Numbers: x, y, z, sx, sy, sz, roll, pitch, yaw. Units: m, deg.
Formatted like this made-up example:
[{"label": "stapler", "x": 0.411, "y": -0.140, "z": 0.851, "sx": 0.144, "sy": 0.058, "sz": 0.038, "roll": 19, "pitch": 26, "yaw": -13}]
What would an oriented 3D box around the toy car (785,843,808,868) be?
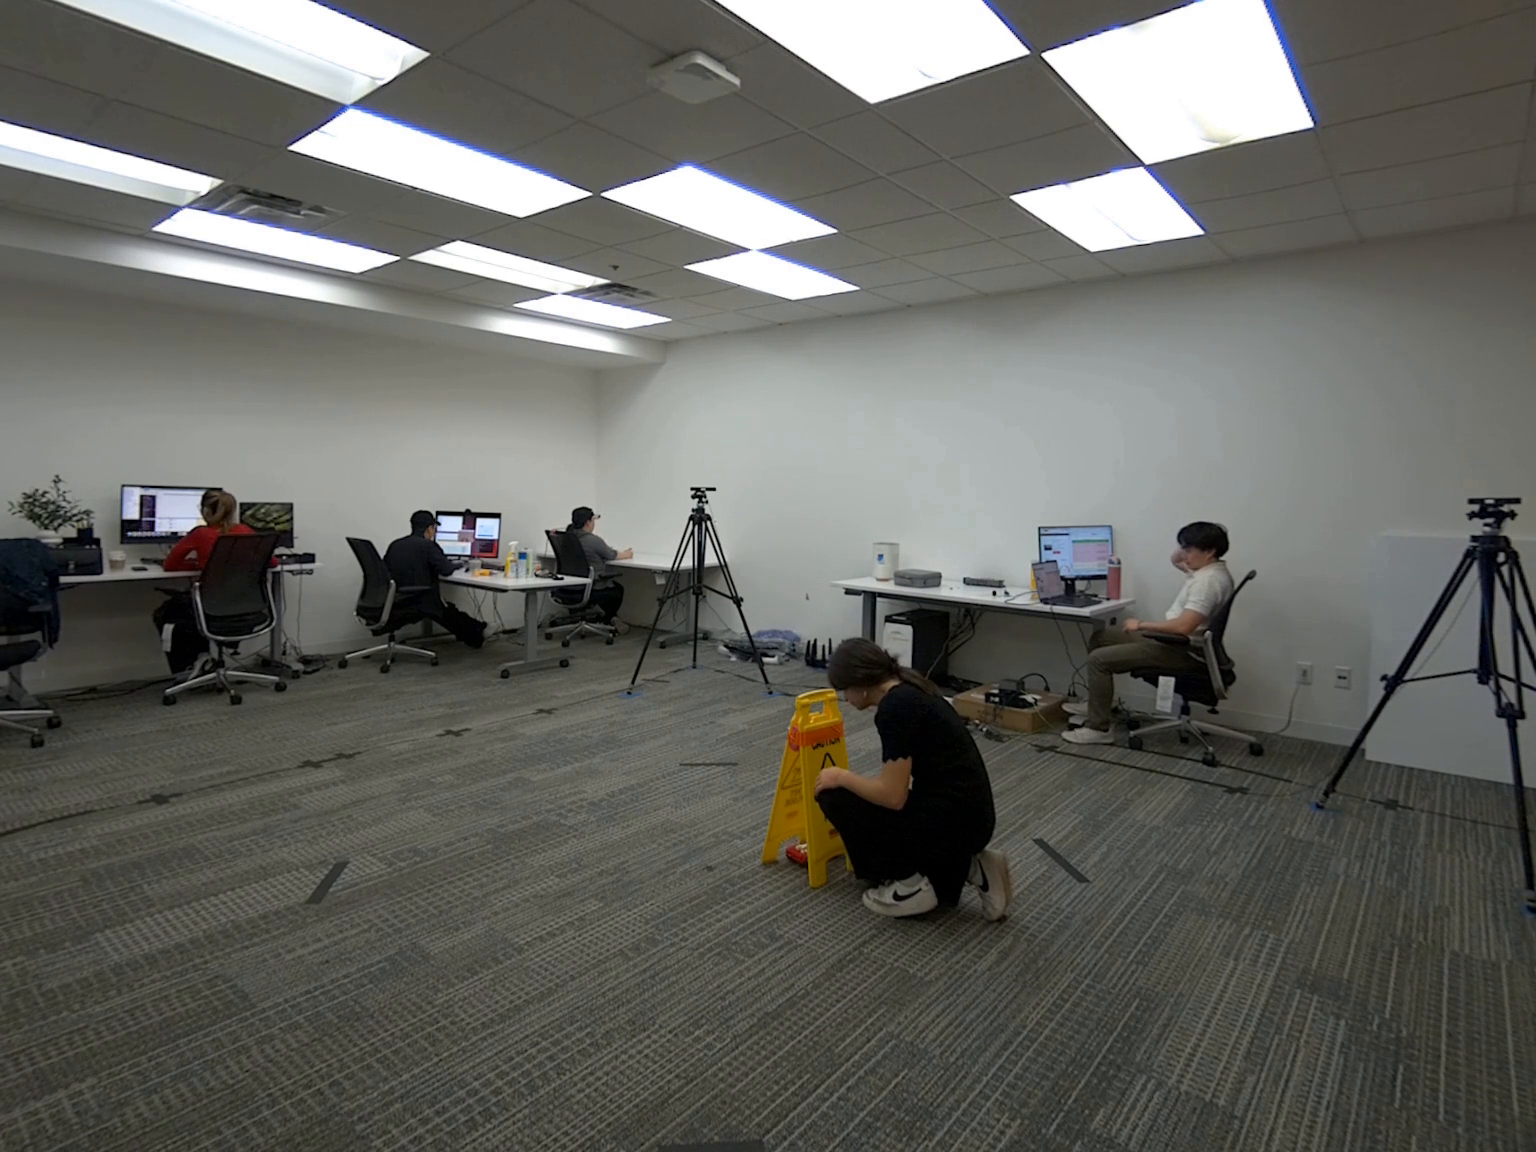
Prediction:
[{"label": "toy car", "x": 0.184, "y": 1.042, "z": 3.225, "sx": 0.249, "sy": 0.082, "sz": 0.135, "roll": -15, "pitch": 16, "yaw": -37}]
